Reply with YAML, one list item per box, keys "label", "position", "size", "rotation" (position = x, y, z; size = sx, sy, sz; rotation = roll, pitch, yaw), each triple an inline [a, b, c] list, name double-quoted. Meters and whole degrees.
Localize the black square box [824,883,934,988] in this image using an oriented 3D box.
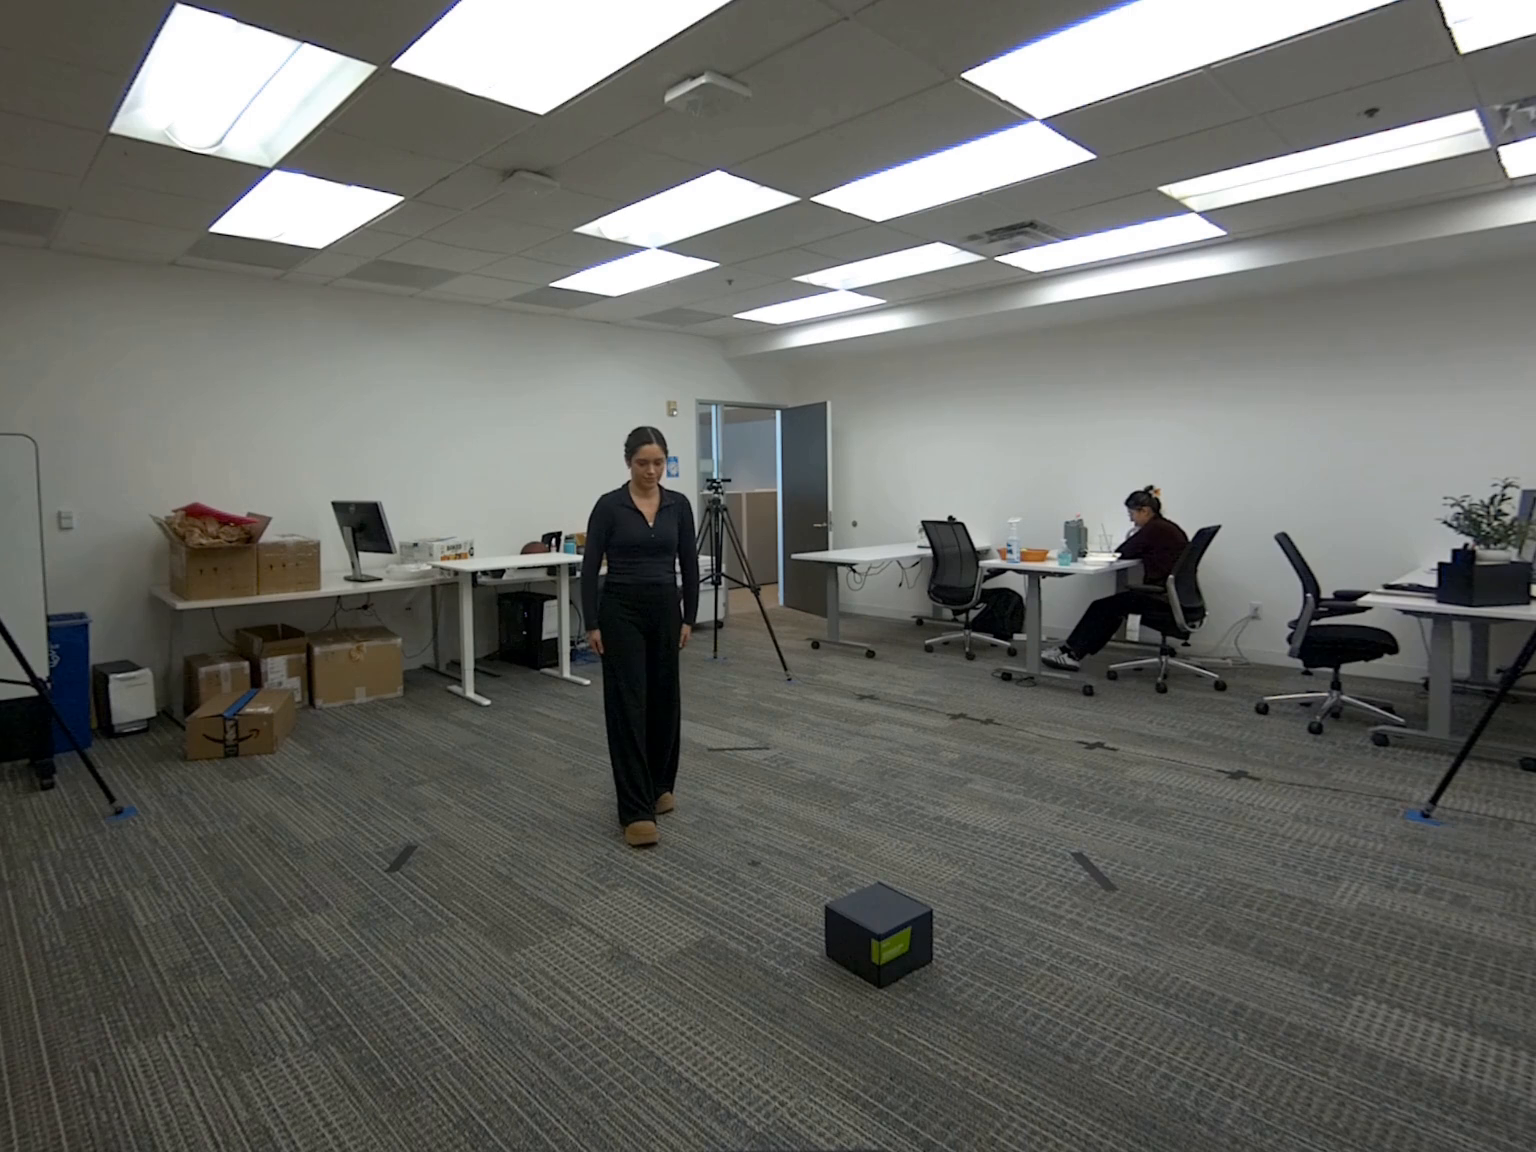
- label: "black square box"
  position: [0.325, 1.029, 2.472]
  size: [0.222, 0.155, 0.224]
  rotation: [-5, 8, -39]
